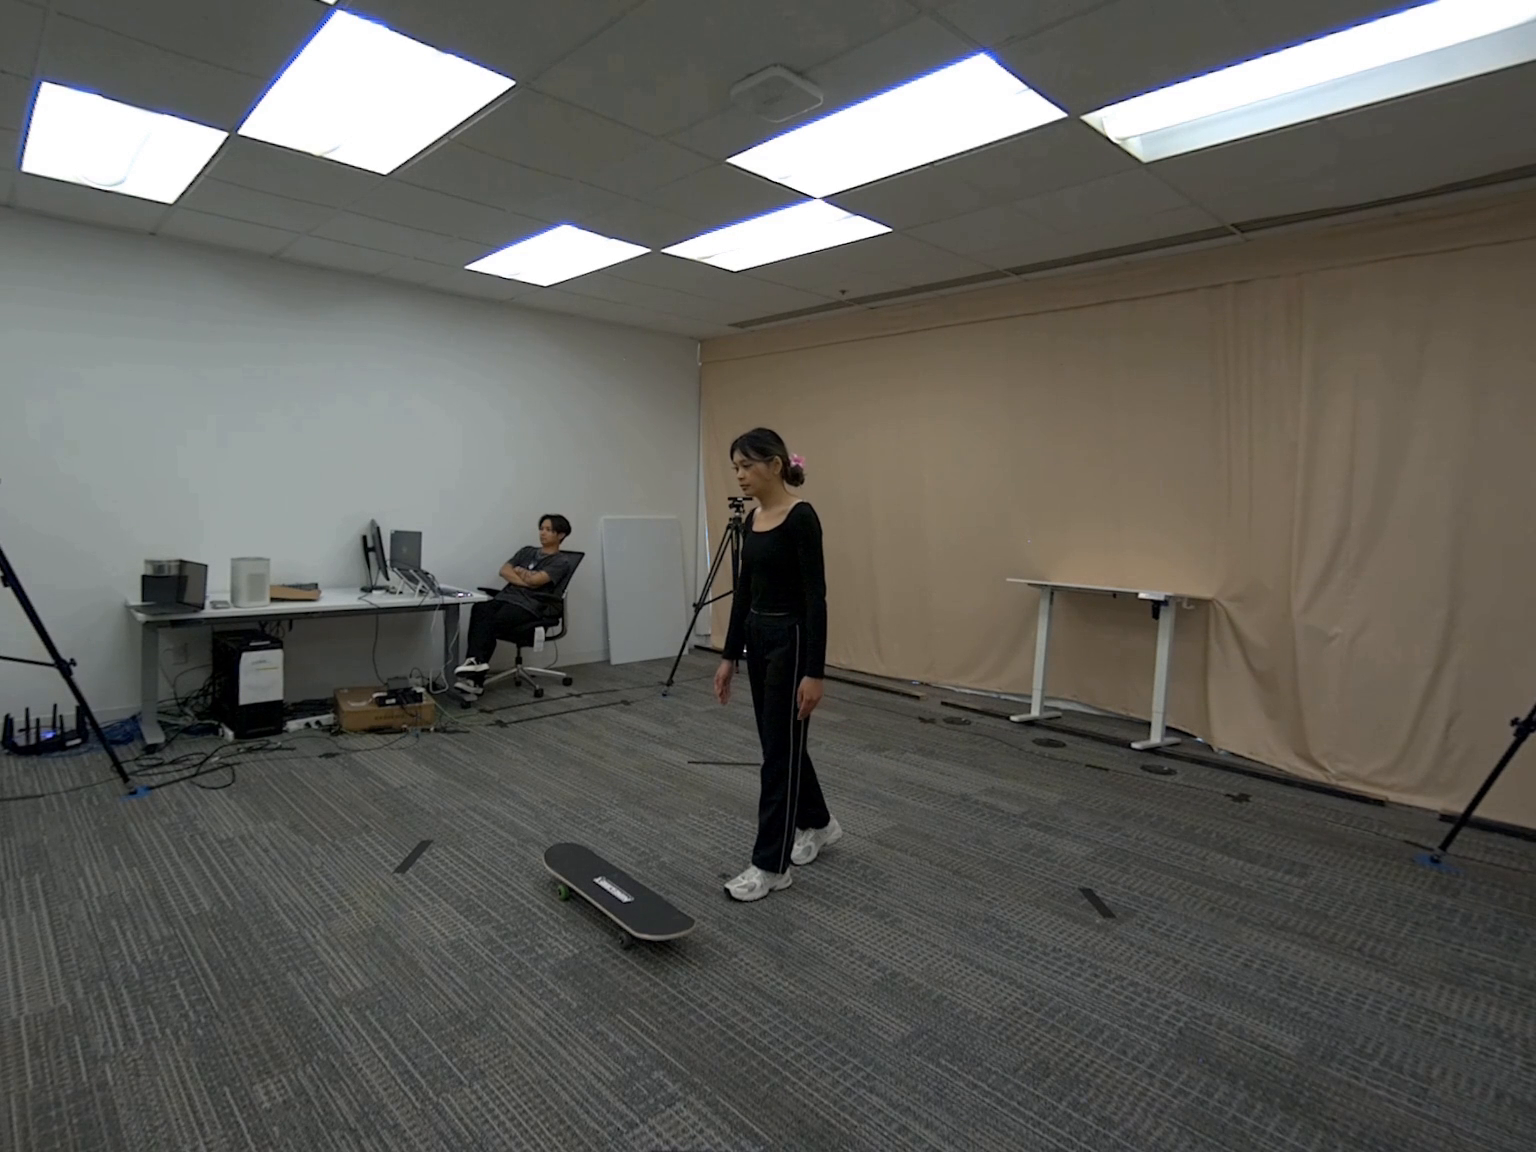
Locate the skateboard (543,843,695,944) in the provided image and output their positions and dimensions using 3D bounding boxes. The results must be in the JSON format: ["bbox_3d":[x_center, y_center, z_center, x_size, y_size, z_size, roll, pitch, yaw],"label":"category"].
[{"bbox_3d":[-0.530,1.076,2.791,0.189,0.110,0.806,-3,7,-40],"label":"skateboard"}]
